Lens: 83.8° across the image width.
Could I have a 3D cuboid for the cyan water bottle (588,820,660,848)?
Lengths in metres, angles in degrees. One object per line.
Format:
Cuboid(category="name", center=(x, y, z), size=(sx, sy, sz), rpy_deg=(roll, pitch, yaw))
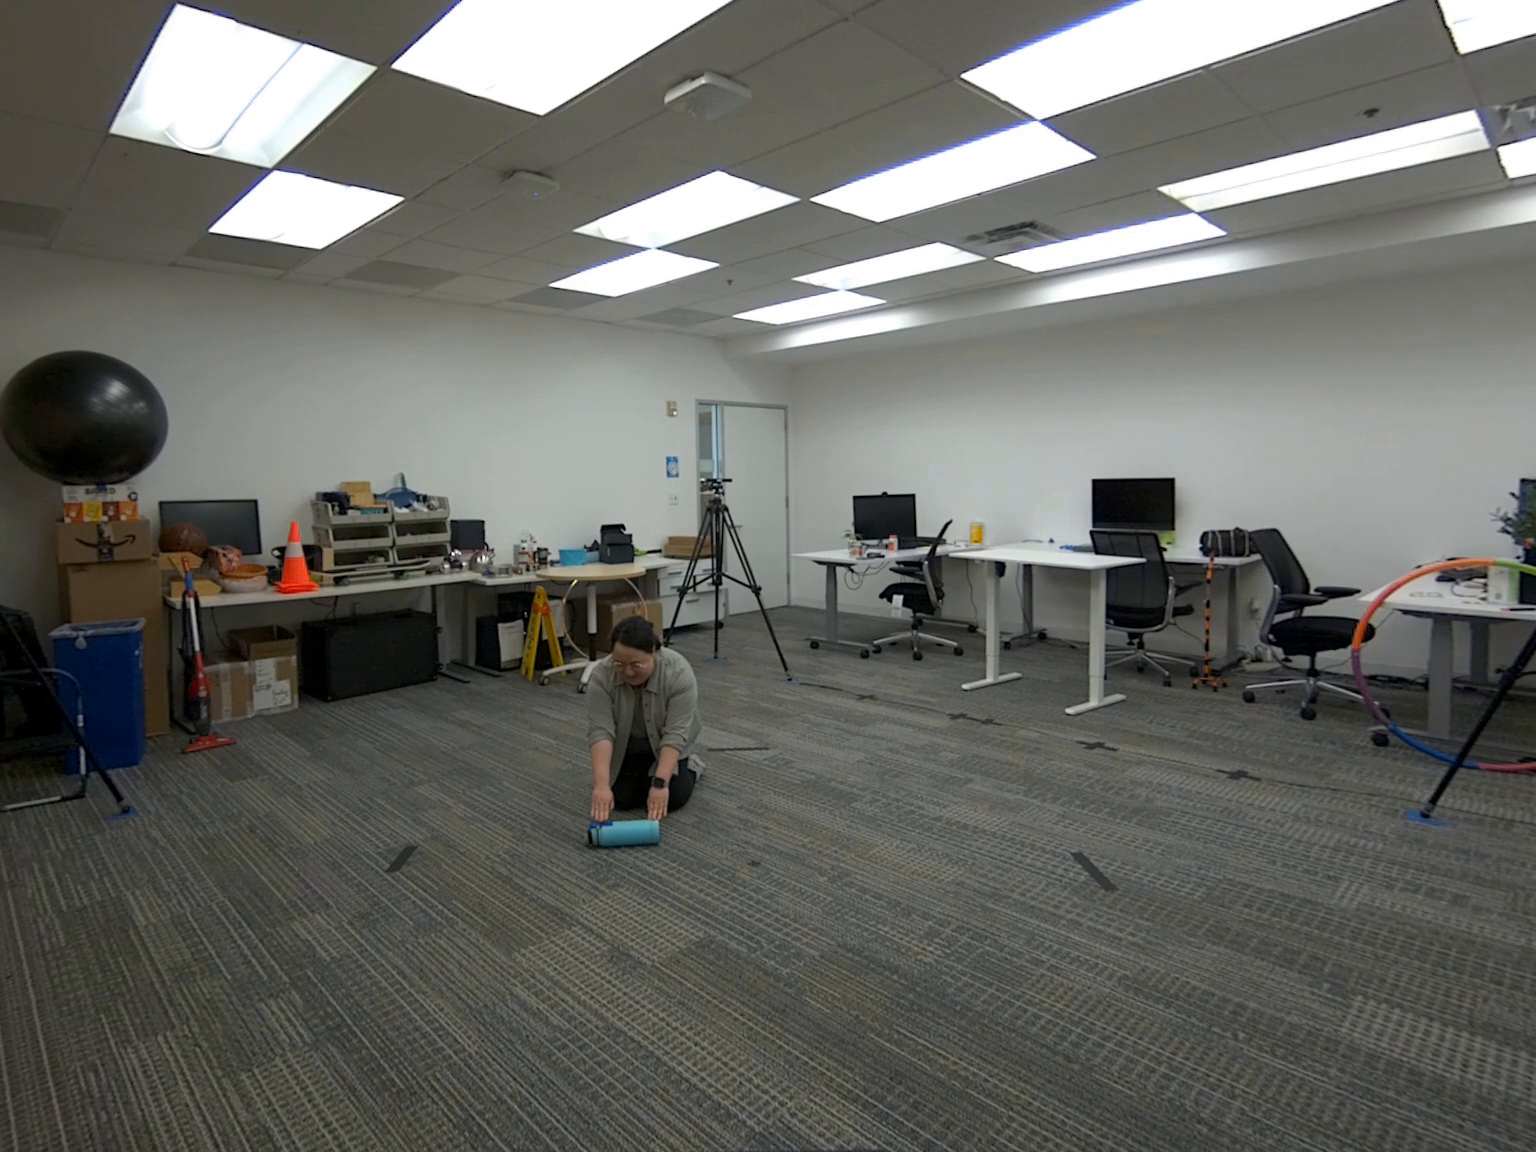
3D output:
Cuboid(category="cyan water bottle", center=(-0.561, 0.991, 3.284), size=(0.282, 0.092, 0.093), rpy_deg=(-1, 5, -5))
